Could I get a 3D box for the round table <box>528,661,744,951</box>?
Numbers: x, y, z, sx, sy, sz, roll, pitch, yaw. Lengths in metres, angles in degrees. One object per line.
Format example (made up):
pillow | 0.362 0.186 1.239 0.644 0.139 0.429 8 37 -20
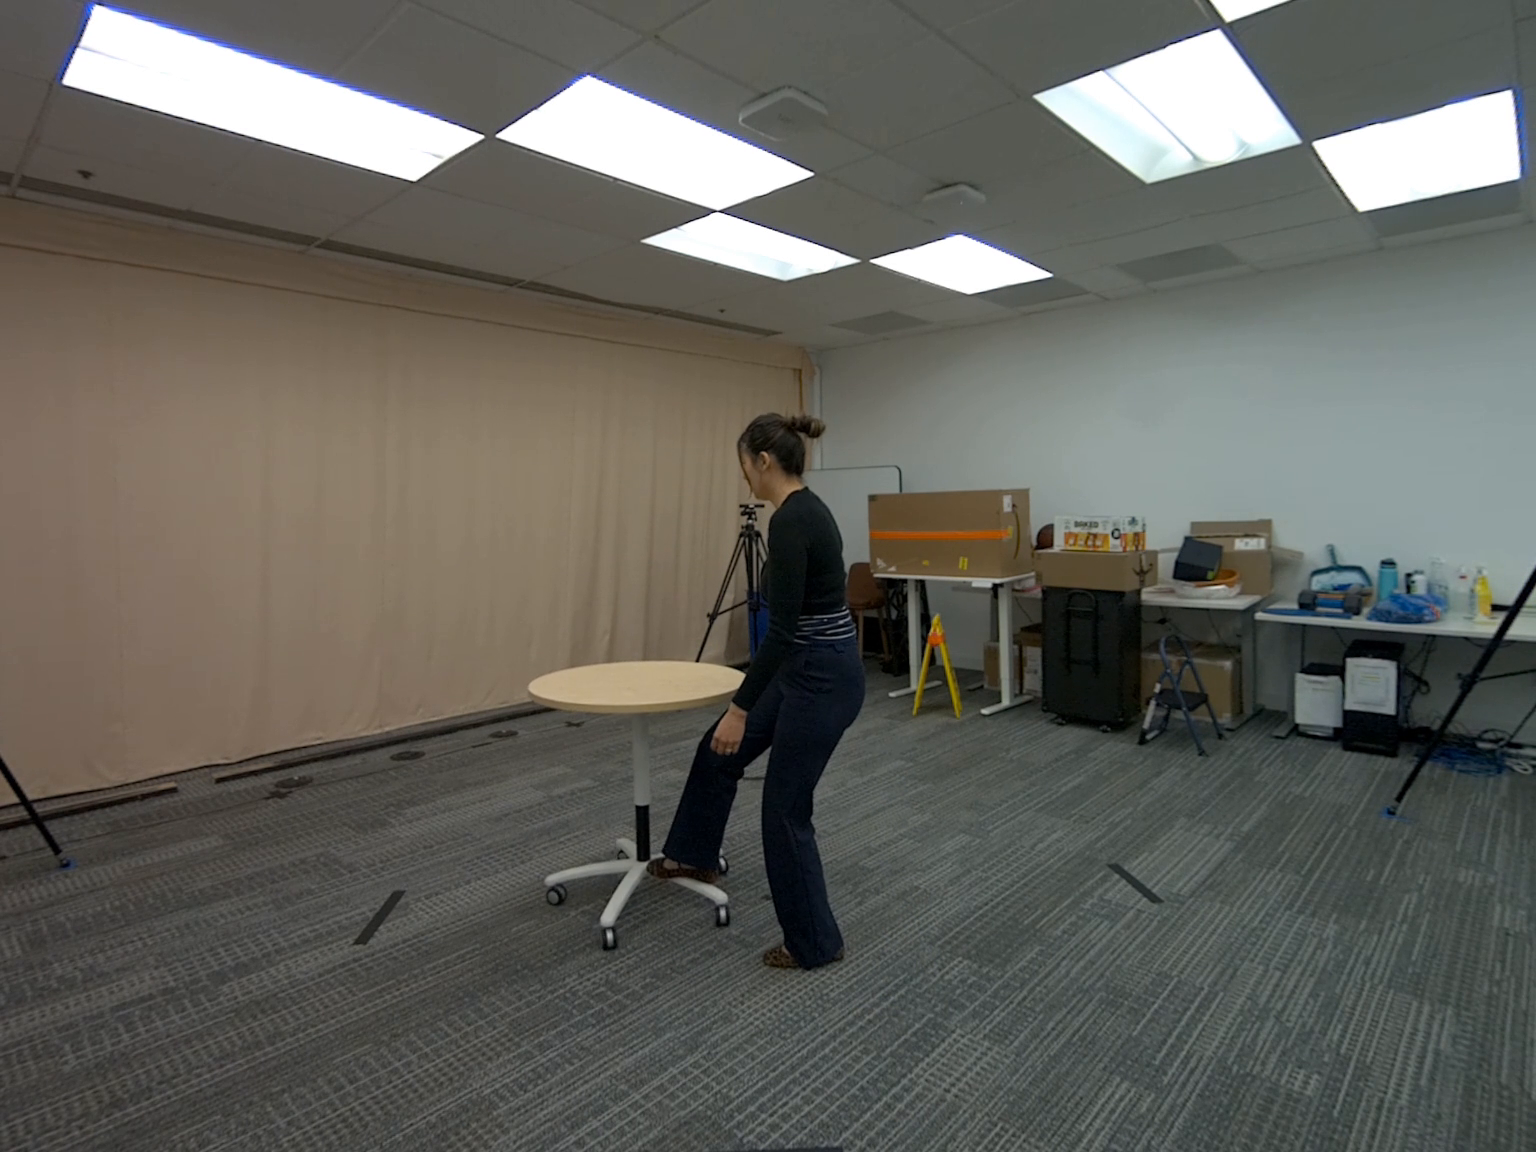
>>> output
round table | -0.446 0.762 2.980 0.763 0.792 0.766 -1 3 -2
